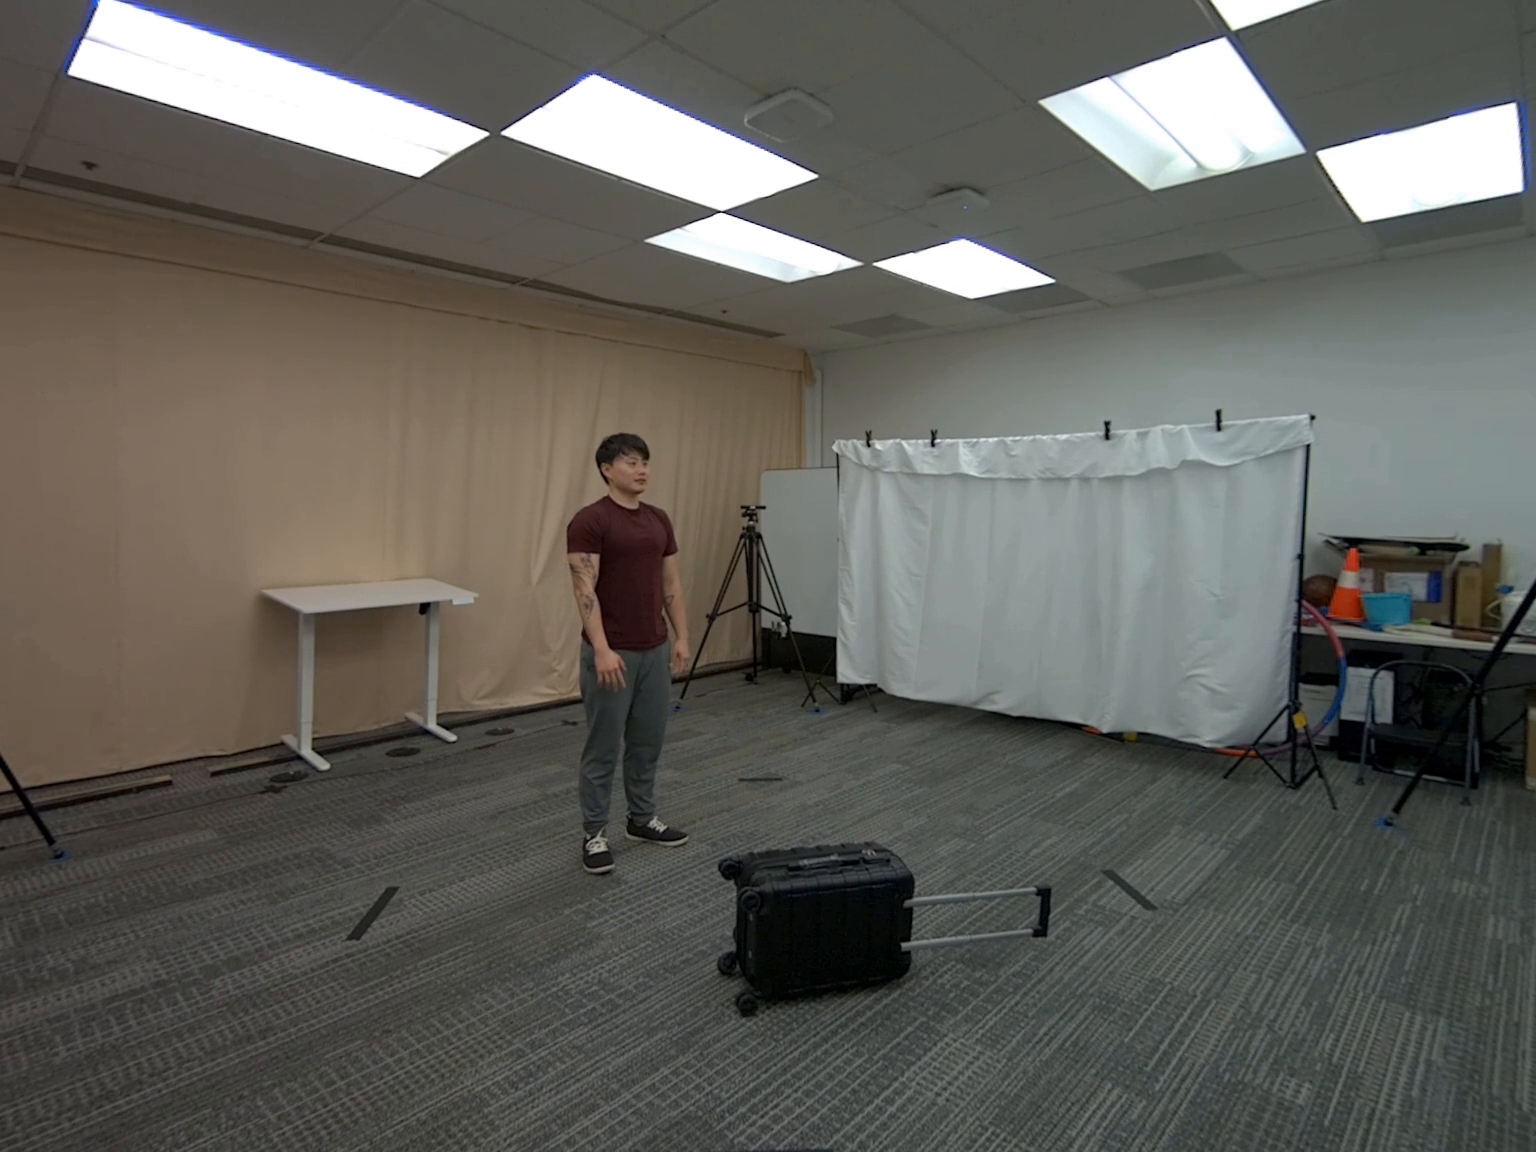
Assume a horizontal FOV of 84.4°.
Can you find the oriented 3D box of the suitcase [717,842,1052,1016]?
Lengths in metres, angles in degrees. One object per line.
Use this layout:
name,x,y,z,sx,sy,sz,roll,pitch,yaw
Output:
suitcase,0.352,0.994,2.527,0.961,0.383,0.262,-1,4,-17
